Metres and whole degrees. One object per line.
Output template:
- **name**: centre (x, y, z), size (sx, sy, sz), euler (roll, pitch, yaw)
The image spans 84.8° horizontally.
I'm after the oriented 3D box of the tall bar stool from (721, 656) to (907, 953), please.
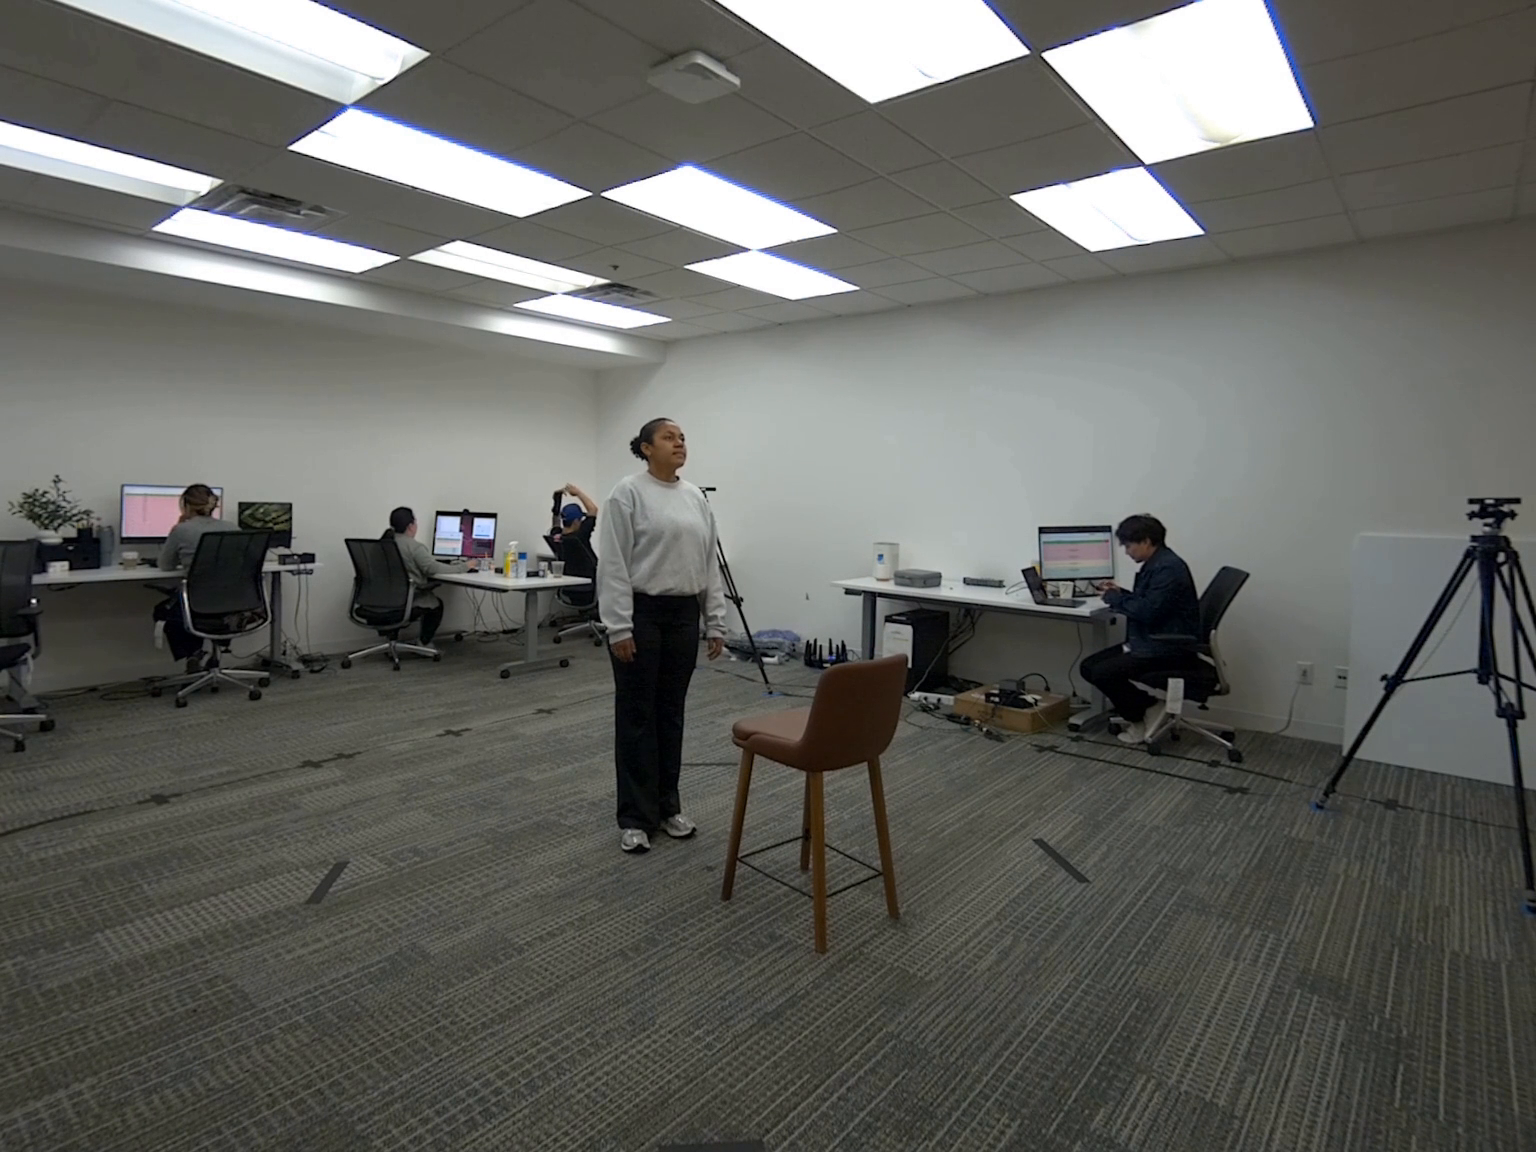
- **tall bar stool**: centre (0.154, 0.667, 2.812), size (0.442, 0.886, 0.484), euler (-1, 6, -42)
